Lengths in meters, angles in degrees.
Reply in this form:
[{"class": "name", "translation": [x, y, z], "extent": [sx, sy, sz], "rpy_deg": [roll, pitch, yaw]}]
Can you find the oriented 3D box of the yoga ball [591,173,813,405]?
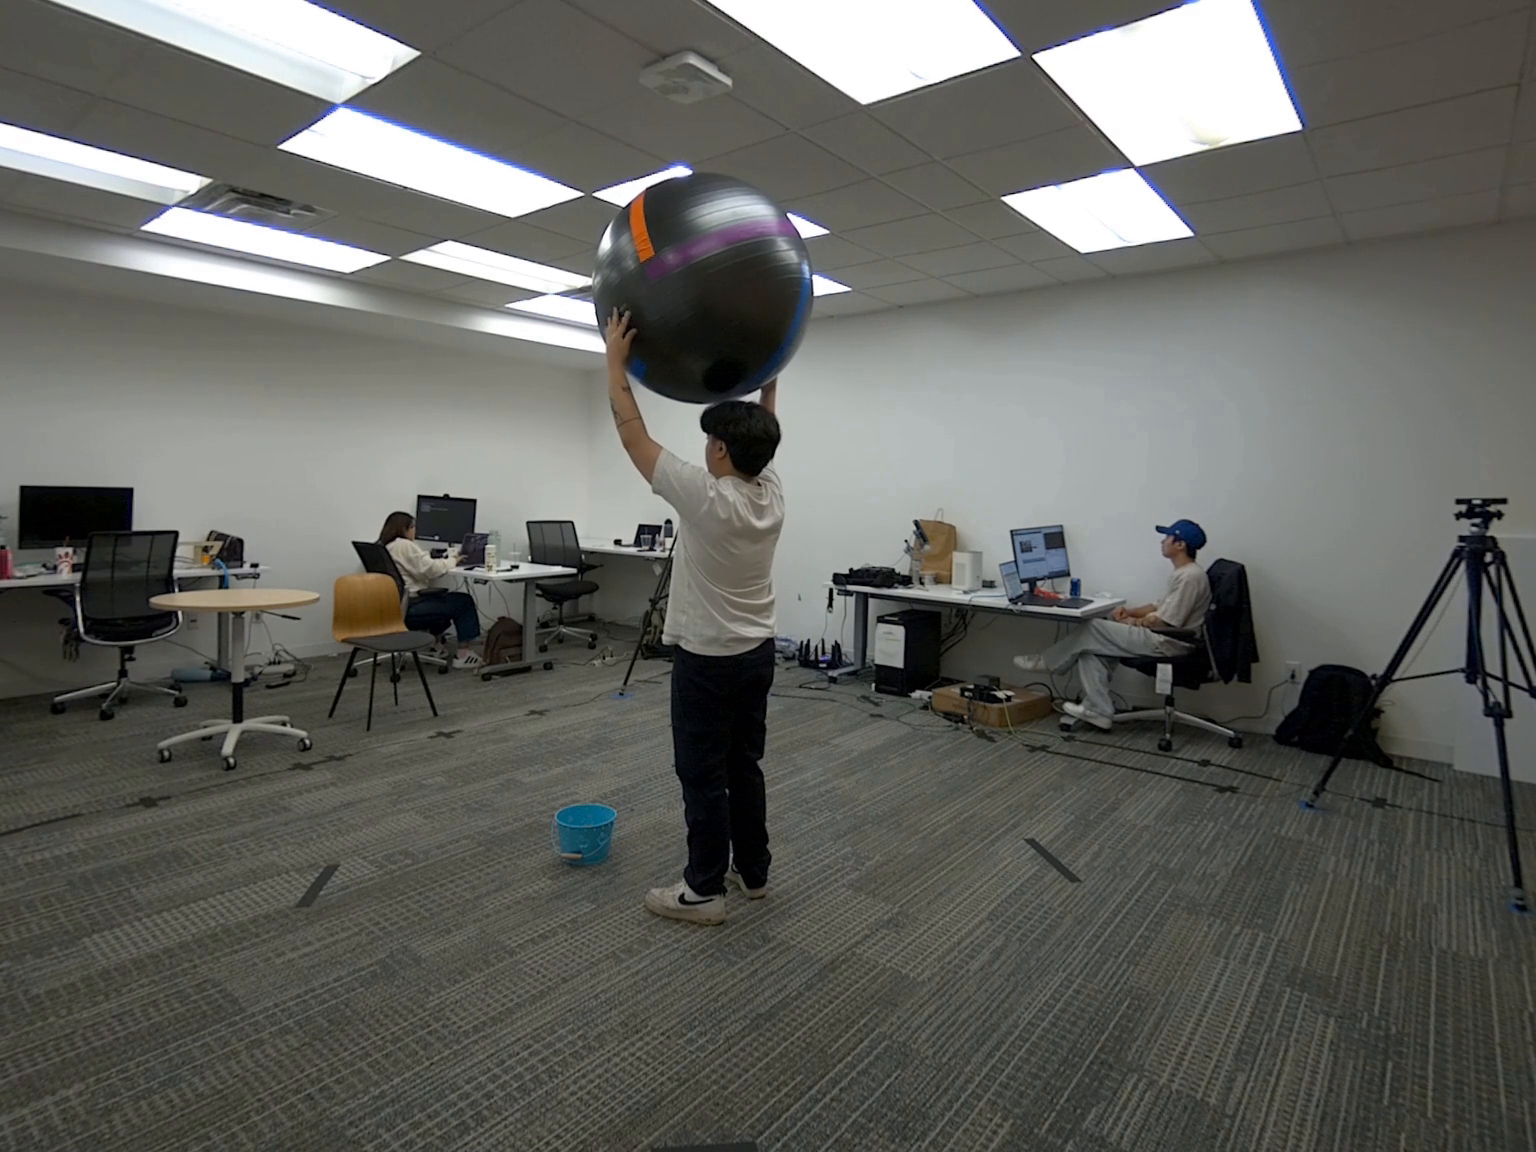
[{"class": "yoga ball", "translation": [-0.230, -0.970, 2.904], "extent": [0.757, 0.755, 0.762], "rpy_deg": [1, 4, -2]}]
